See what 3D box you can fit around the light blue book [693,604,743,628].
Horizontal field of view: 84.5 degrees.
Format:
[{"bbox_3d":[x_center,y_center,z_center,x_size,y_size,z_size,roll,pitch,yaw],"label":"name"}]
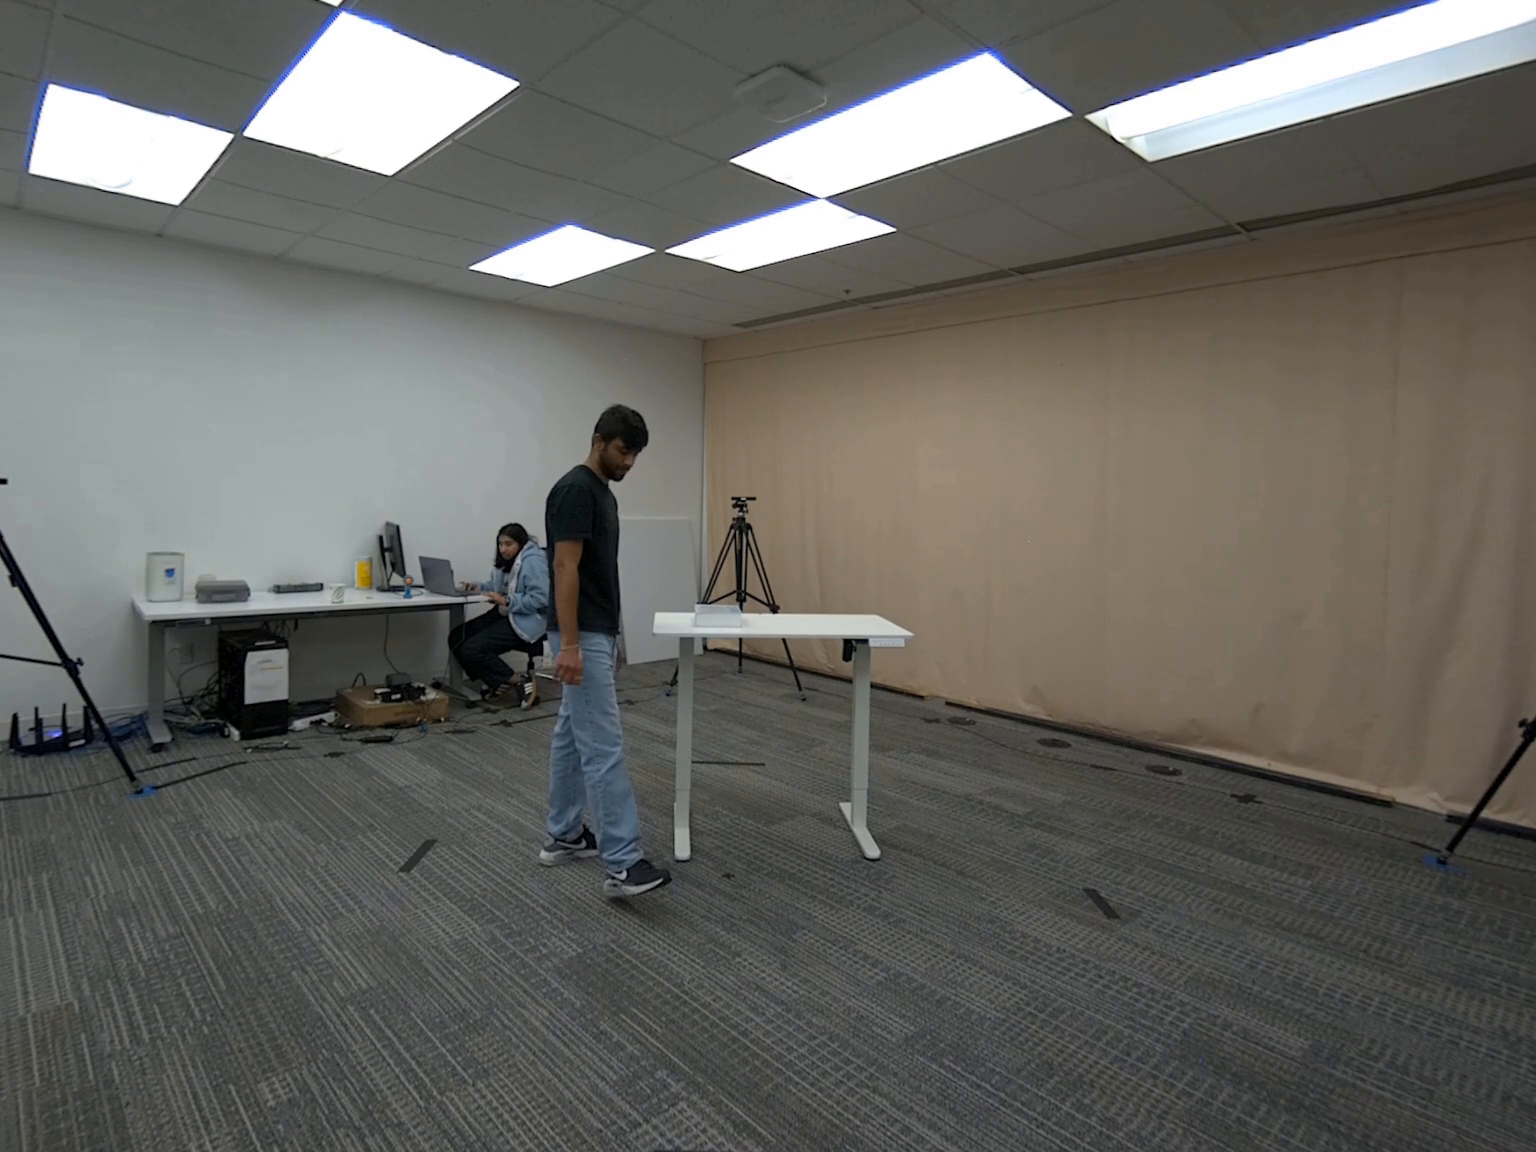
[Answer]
[{"bbox_3d":[-0.213,0.164,3.474,0.191,0.059,0.263,2,6,-4],"label":"light blue book"}]
